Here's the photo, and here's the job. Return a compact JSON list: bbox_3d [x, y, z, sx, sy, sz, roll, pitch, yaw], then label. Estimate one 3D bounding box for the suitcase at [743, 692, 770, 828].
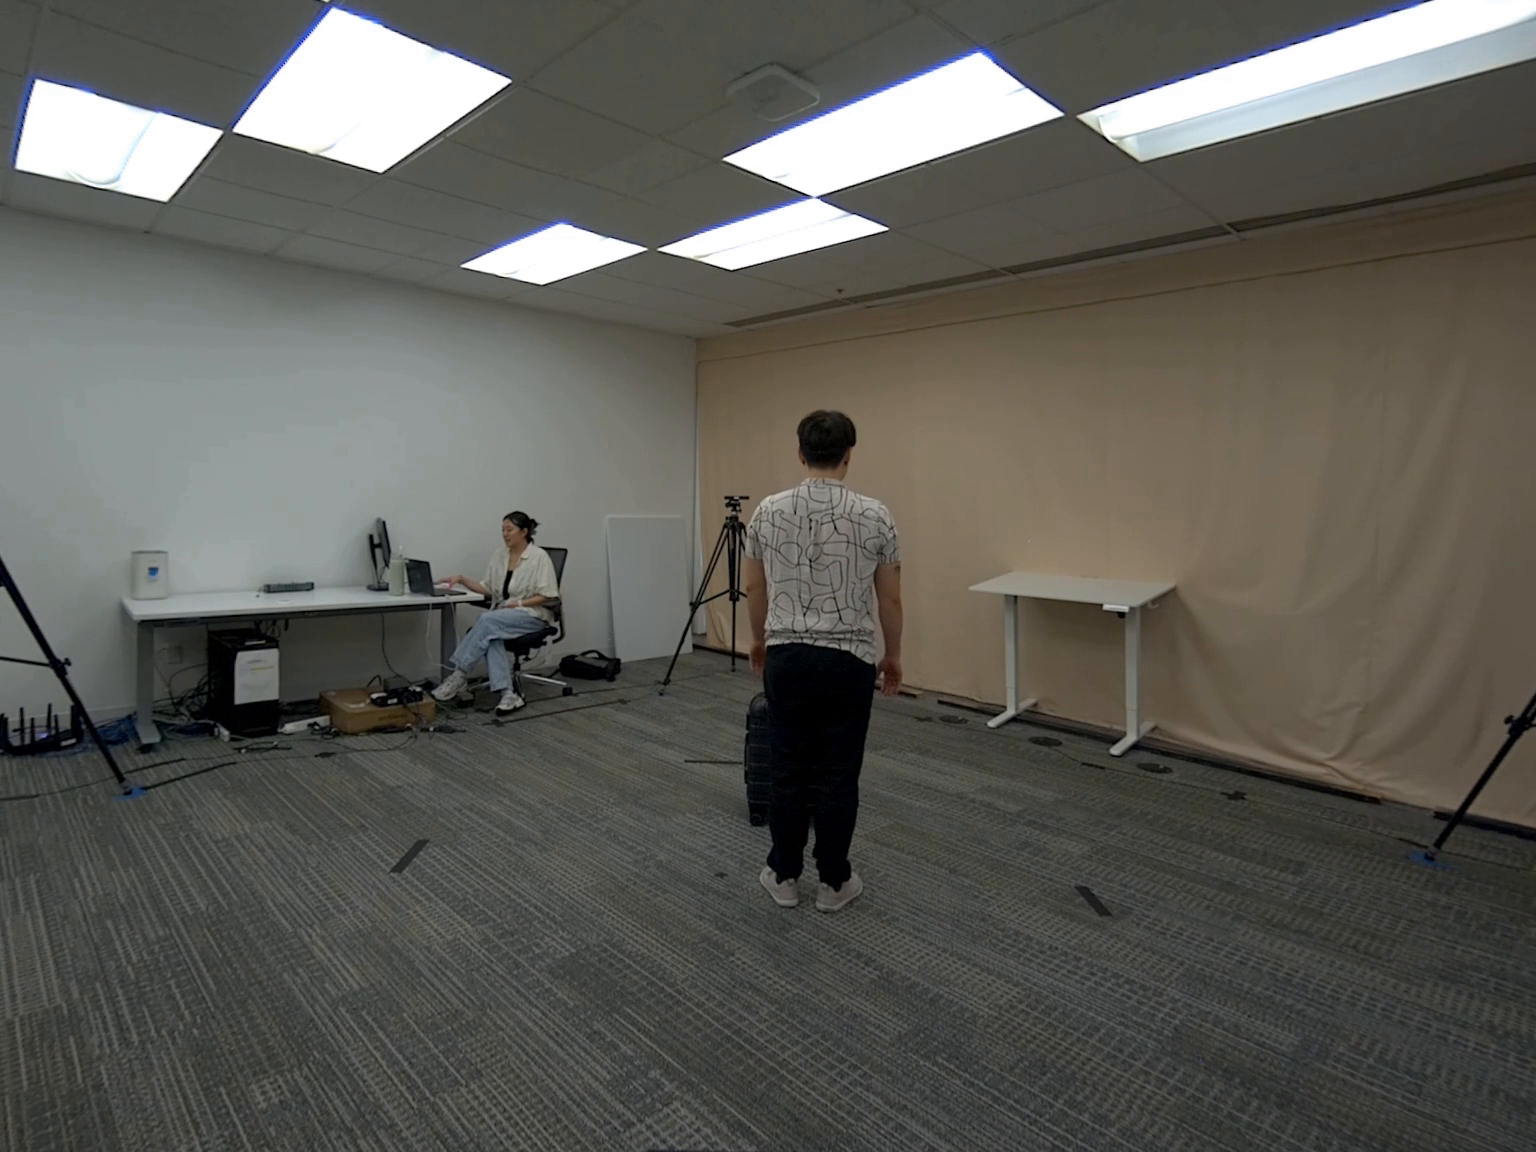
[{"bbox_3d":[0.085,0.788,3.674,0.377,0.548,0.247,1,2,6],"label":"suitcase"}]
